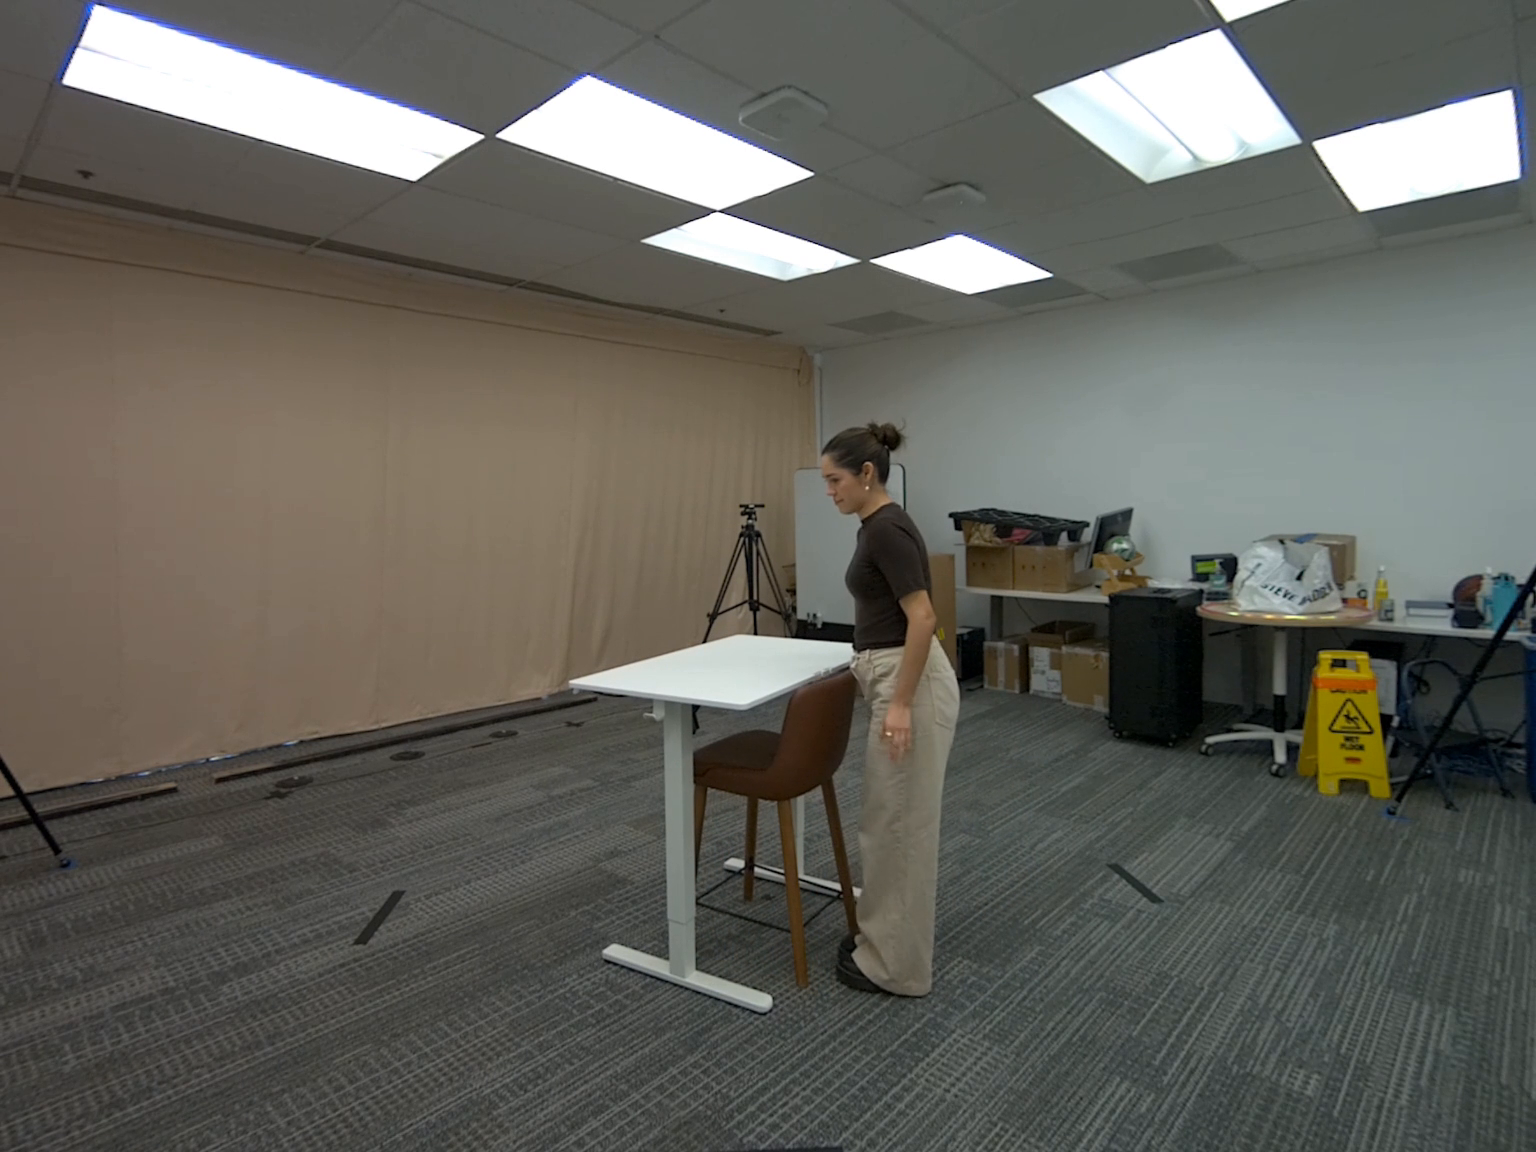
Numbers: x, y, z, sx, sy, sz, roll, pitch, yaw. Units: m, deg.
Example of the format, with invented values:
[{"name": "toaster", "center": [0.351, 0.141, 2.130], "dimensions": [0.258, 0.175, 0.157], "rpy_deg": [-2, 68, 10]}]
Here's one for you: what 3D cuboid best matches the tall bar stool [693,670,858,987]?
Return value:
[{"name": "tall bar stool", "center": [0.017, 0.736, 2.666], "dimensions": [0.482, 0.887, 0.444], "rpy_deg": [4, 5, 33]}]
